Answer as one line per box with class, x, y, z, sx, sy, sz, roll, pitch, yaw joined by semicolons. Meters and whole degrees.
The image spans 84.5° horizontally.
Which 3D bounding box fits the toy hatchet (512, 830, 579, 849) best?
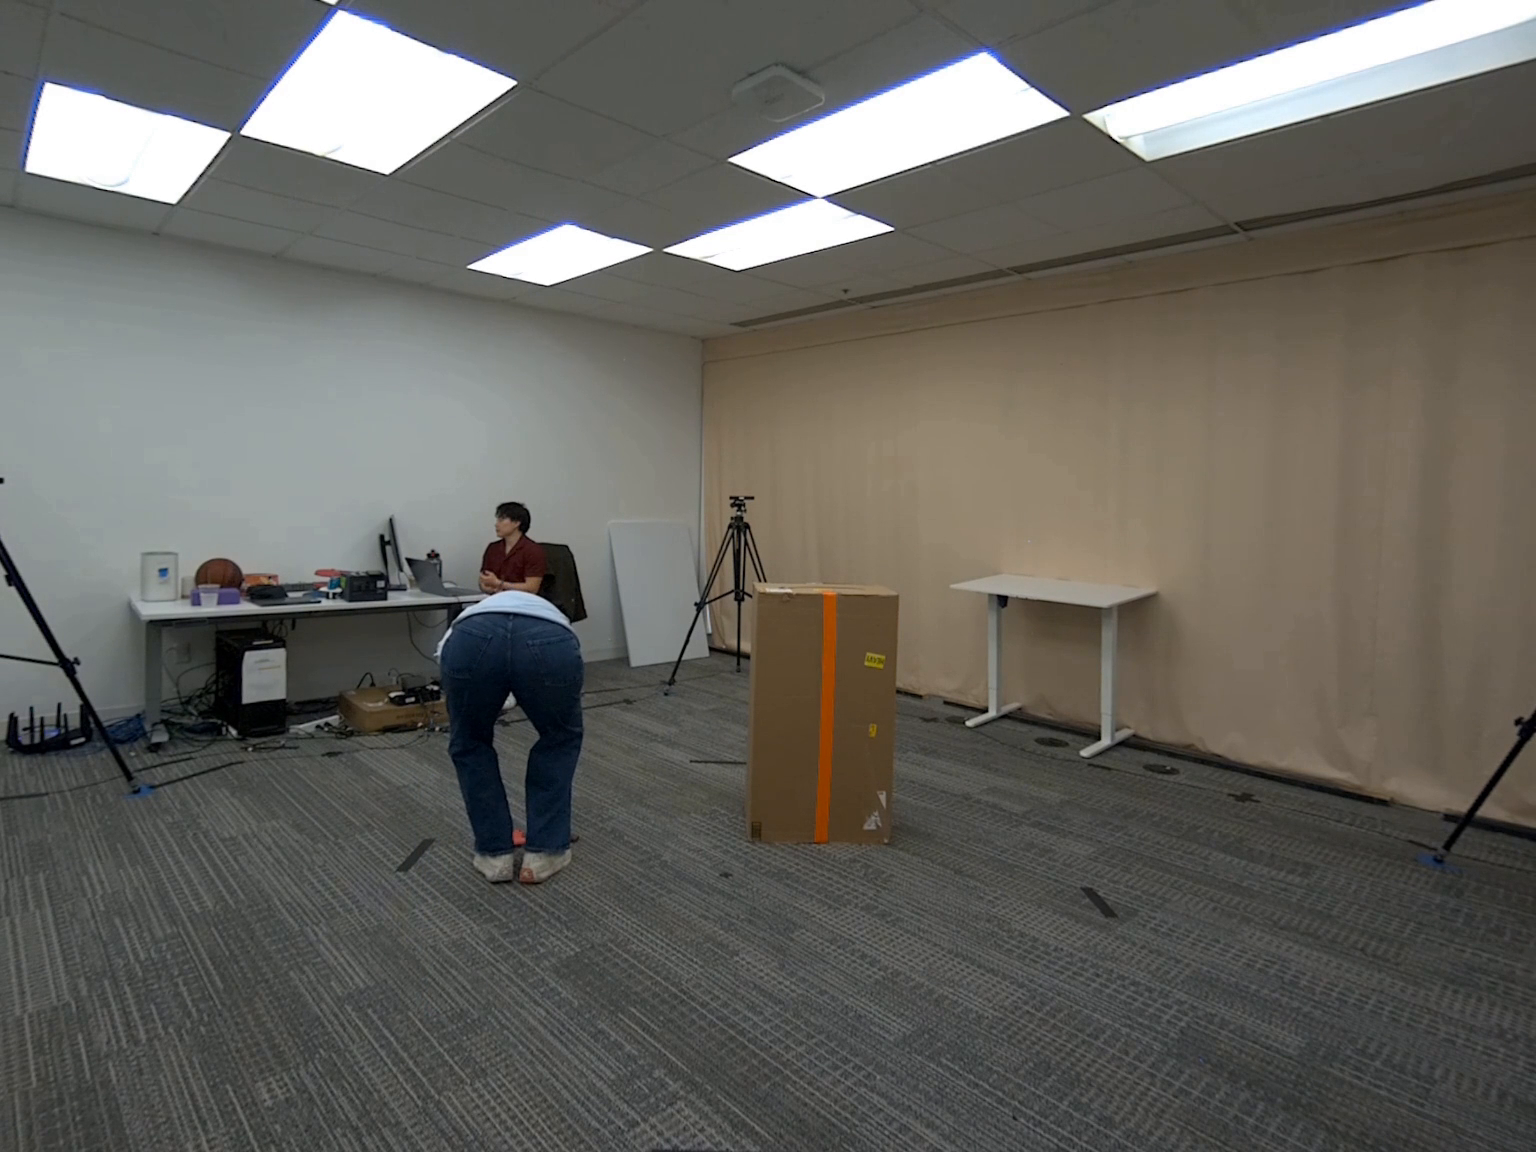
toy hatchet;-0.895;1.051;3.349;0.272;0.029;0.130;3;4;8
